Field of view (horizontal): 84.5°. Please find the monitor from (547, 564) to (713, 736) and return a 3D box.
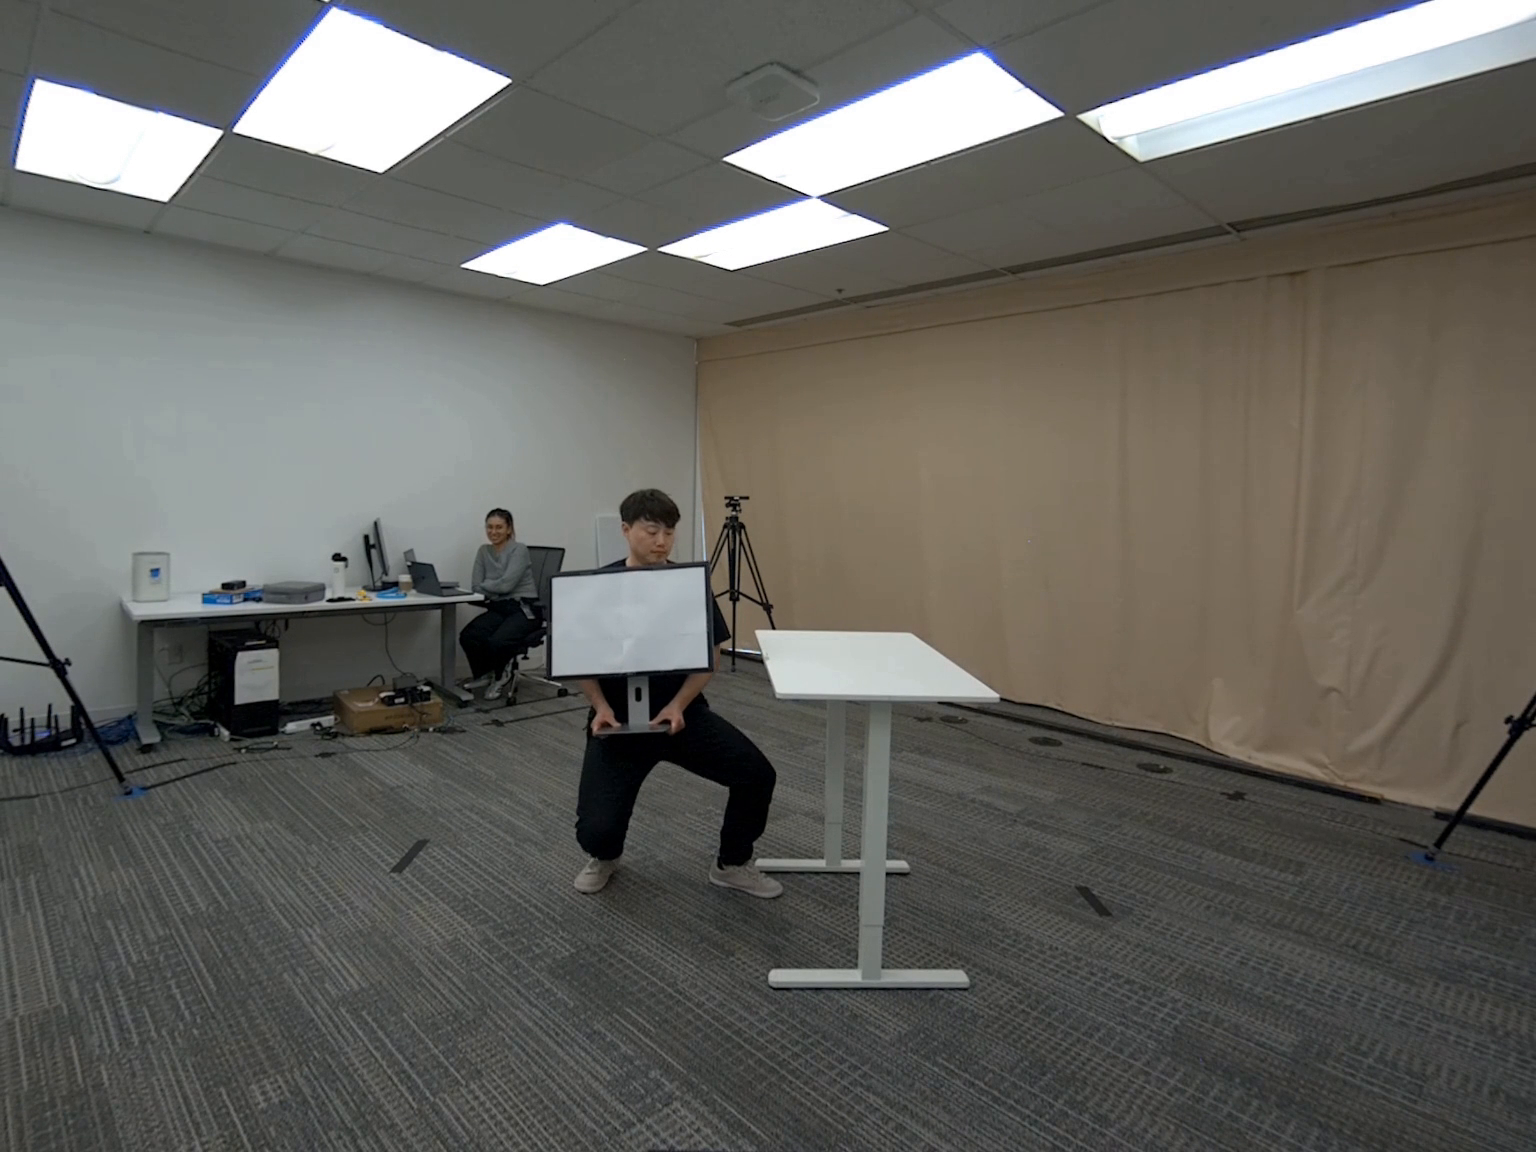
[{"bbox_3d":[-0.459,0.238,2.802,0.541,0.523,0.186,-5,-1,5],"label":"monitor"}]
